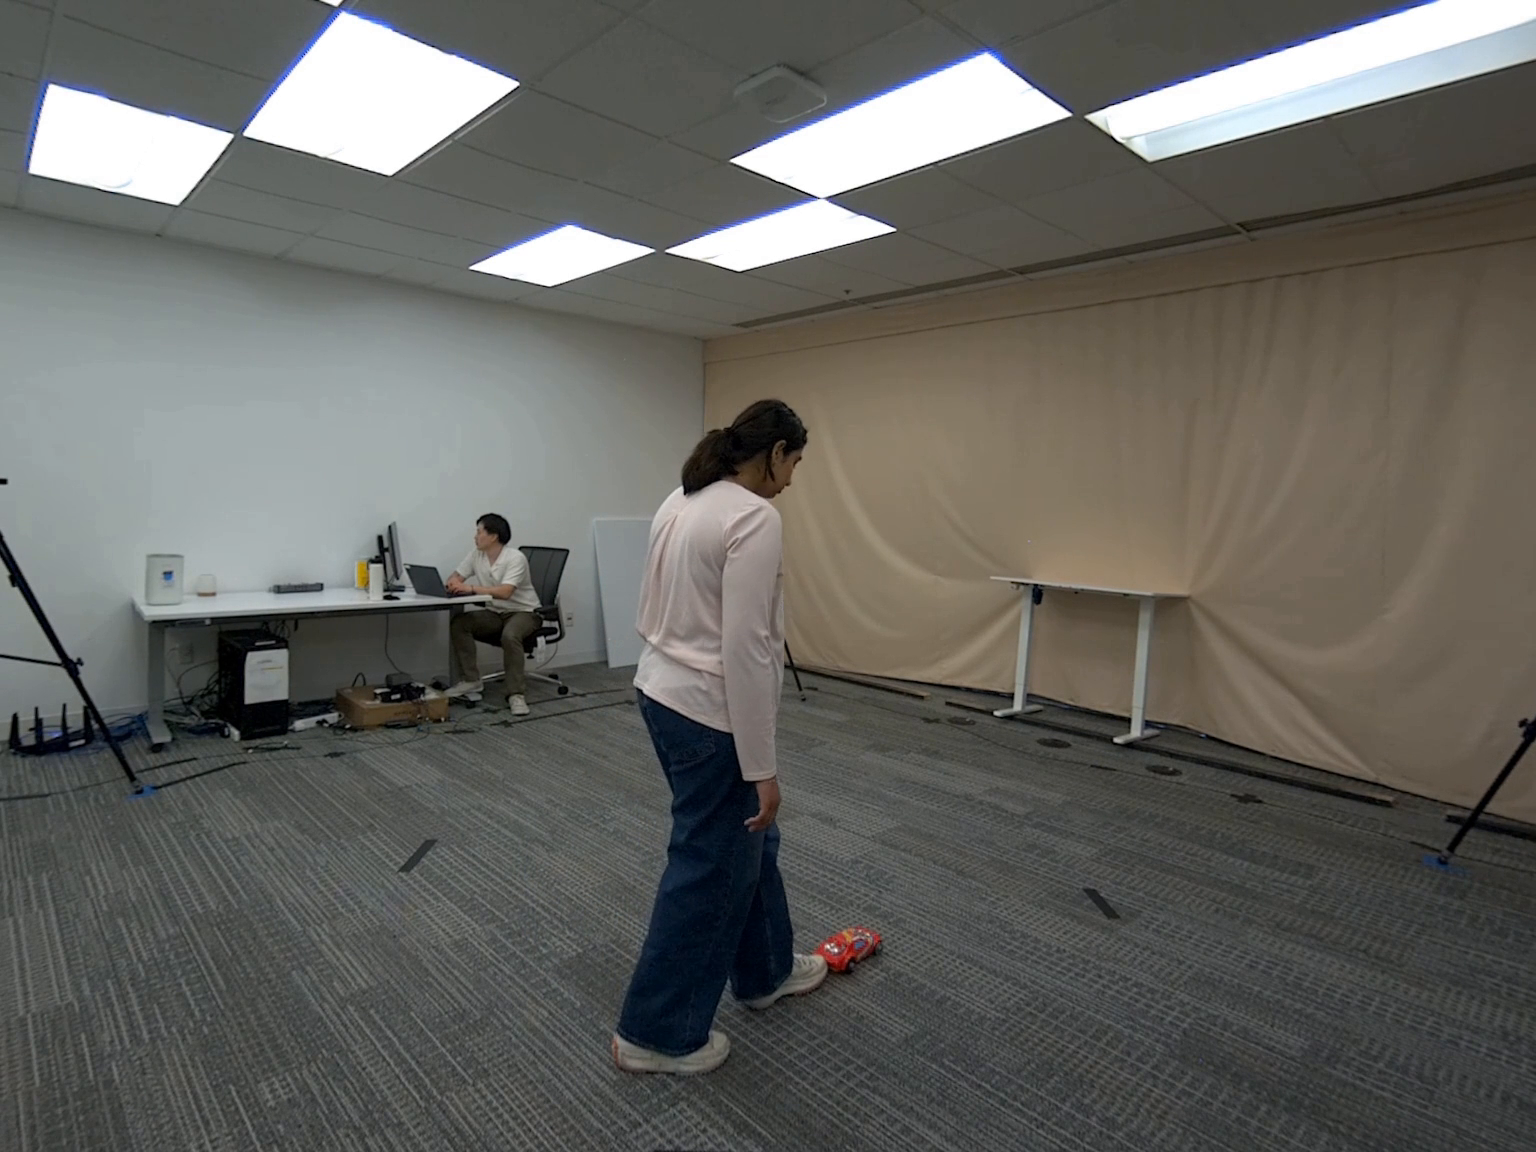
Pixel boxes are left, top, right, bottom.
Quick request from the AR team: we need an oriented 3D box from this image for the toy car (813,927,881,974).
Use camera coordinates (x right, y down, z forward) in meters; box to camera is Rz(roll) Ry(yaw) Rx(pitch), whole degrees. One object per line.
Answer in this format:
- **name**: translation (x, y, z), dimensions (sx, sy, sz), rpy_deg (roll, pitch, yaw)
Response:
- **toy car**: translation (0.233, 1.136, 2.549), dimensions (0.134, 0.083, 0.247), rpy_deg (6, -3, 42)
